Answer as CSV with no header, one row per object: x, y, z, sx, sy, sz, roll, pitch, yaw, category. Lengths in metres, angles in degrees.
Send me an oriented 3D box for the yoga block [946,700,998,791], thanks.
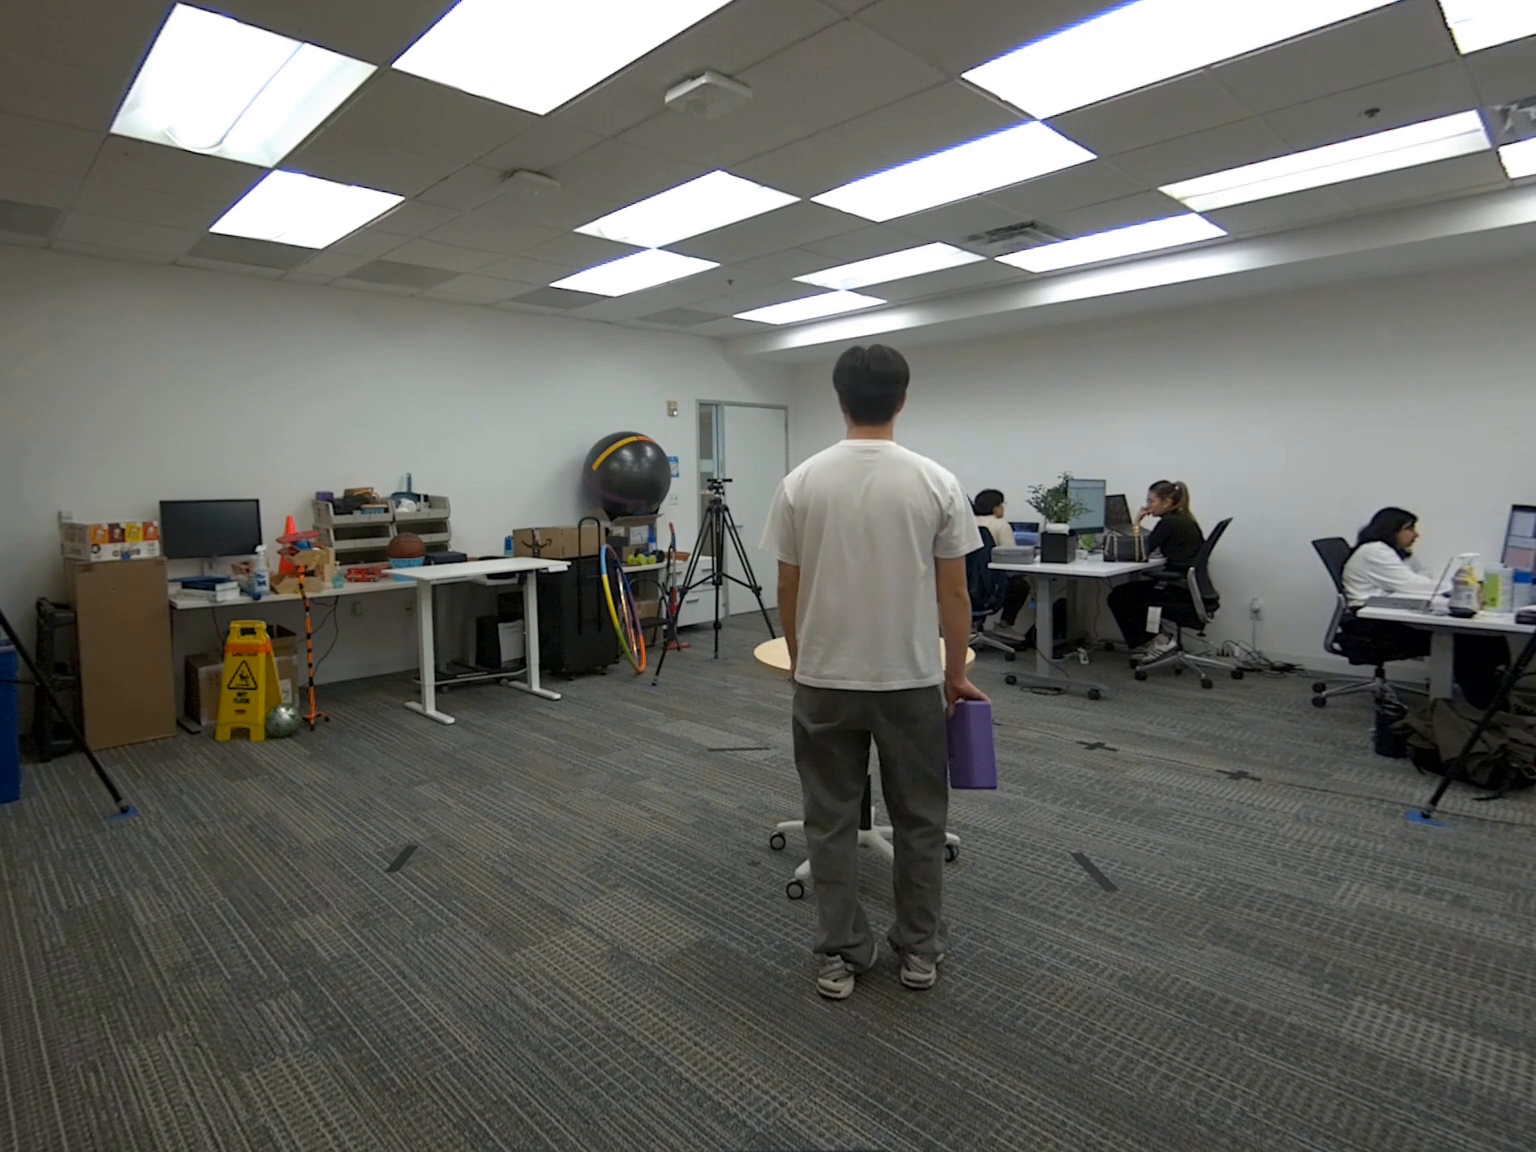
0.541,0.464,2.345,0.076,0.232,0.148,1,-13,-6,yoga block
